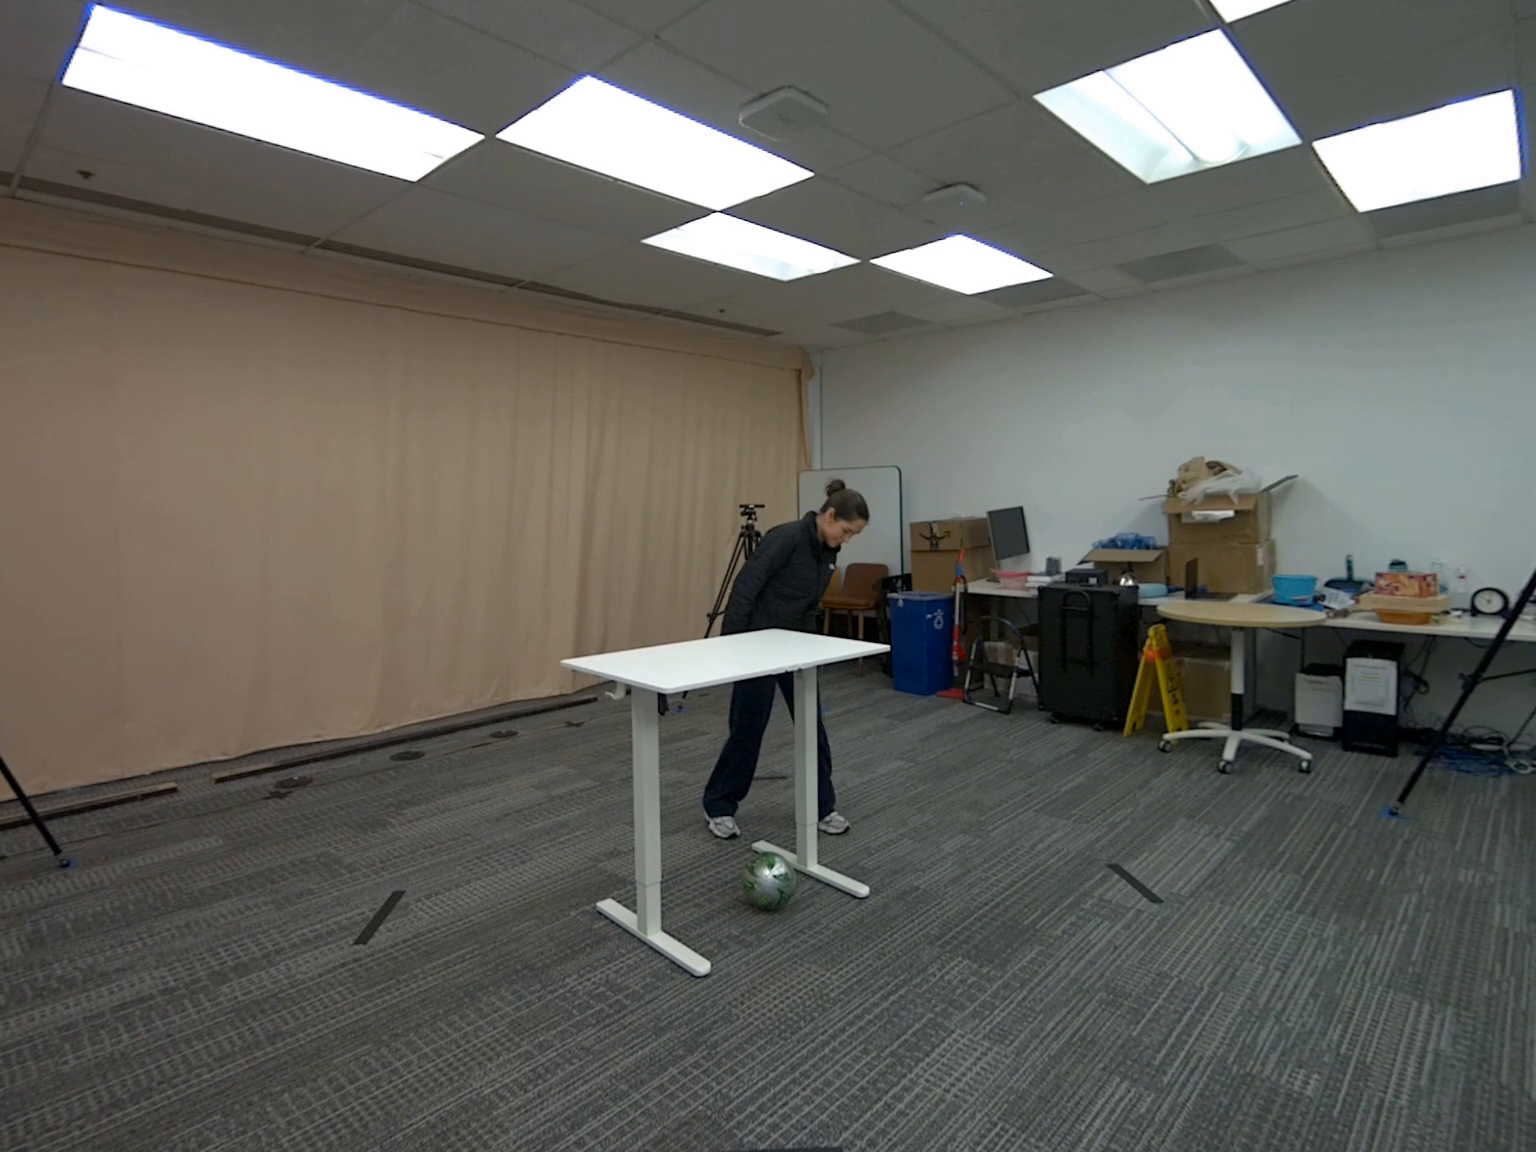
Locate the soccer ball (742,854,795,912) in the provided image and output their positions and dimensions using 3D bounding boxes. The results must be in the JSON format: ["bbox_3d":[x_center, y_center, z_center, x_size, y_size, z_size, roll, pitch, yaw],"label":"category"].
[{"bbox_3d":[0.005,1.047,2.910,0.187,0.187,0.188,-1,4,-2],"label":"soccer ball"}]
